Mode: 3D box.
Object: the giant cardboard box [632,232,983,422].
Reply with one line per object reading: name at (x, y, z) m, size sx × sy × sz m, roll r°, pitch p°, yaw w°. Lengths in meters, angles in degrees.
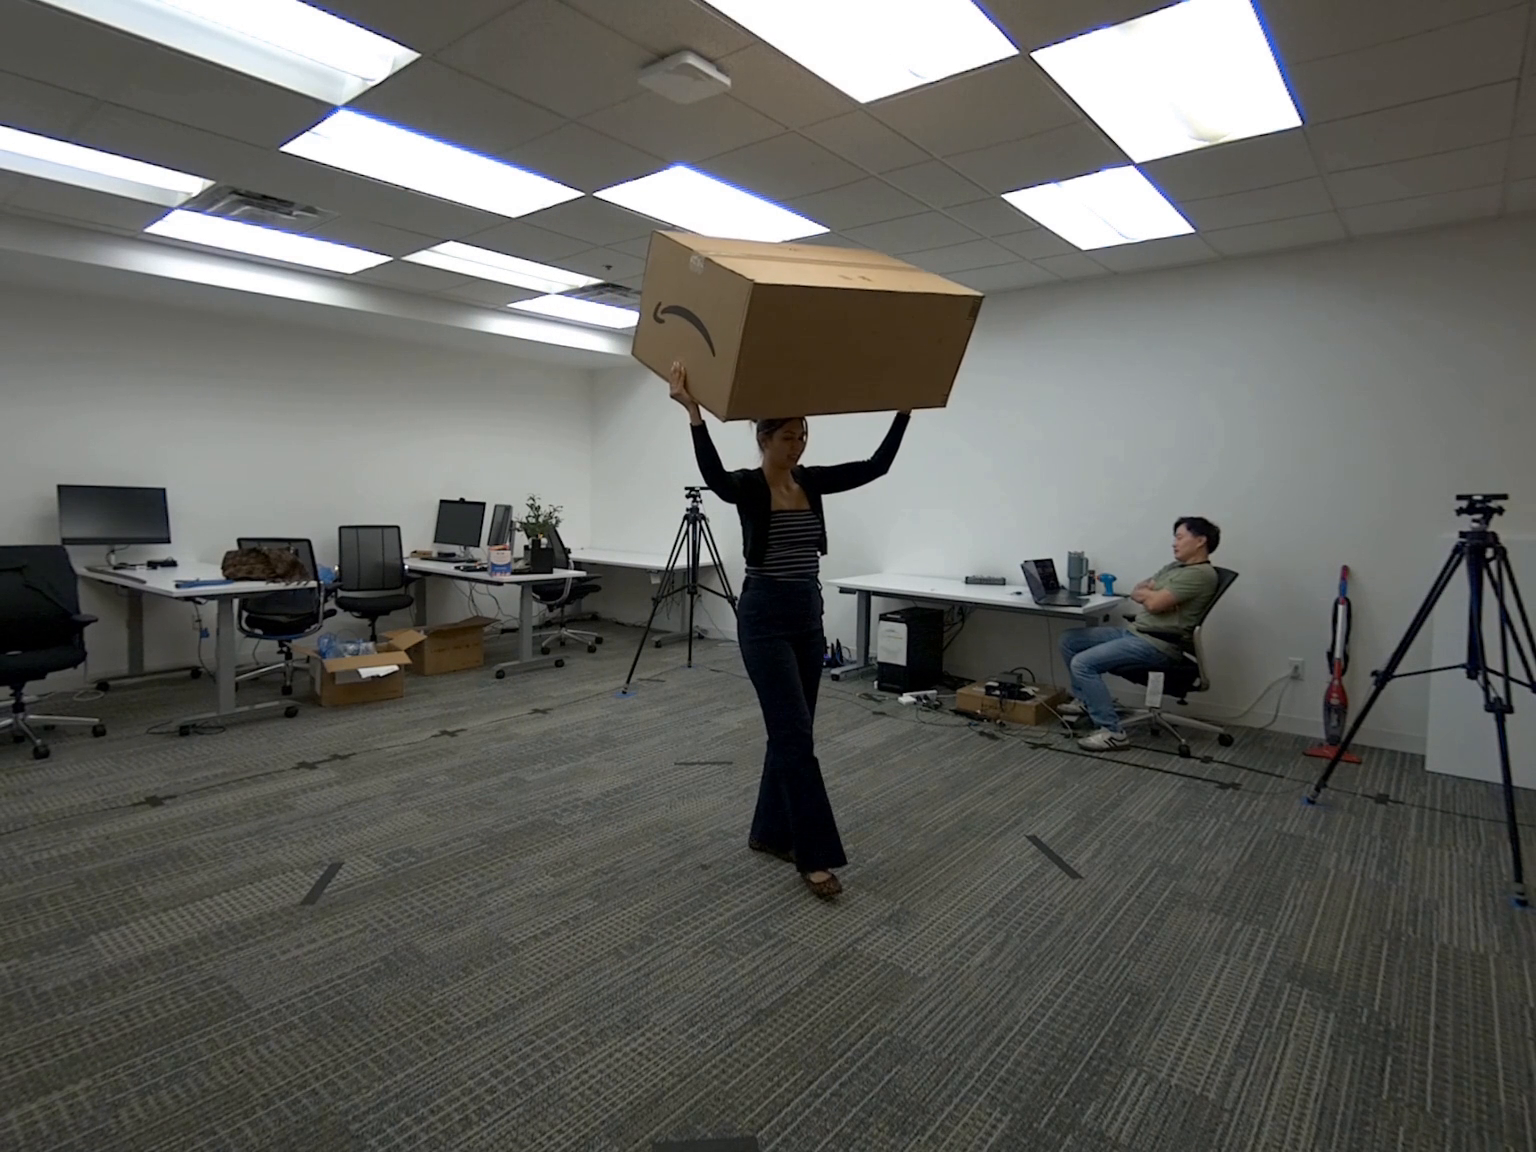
giant cardboard box at (0.123, -0.858, 2.922) m, size 1.000 × 0.419 × 0.602 m, roll -11°, pitch 37°, yaw -36°
